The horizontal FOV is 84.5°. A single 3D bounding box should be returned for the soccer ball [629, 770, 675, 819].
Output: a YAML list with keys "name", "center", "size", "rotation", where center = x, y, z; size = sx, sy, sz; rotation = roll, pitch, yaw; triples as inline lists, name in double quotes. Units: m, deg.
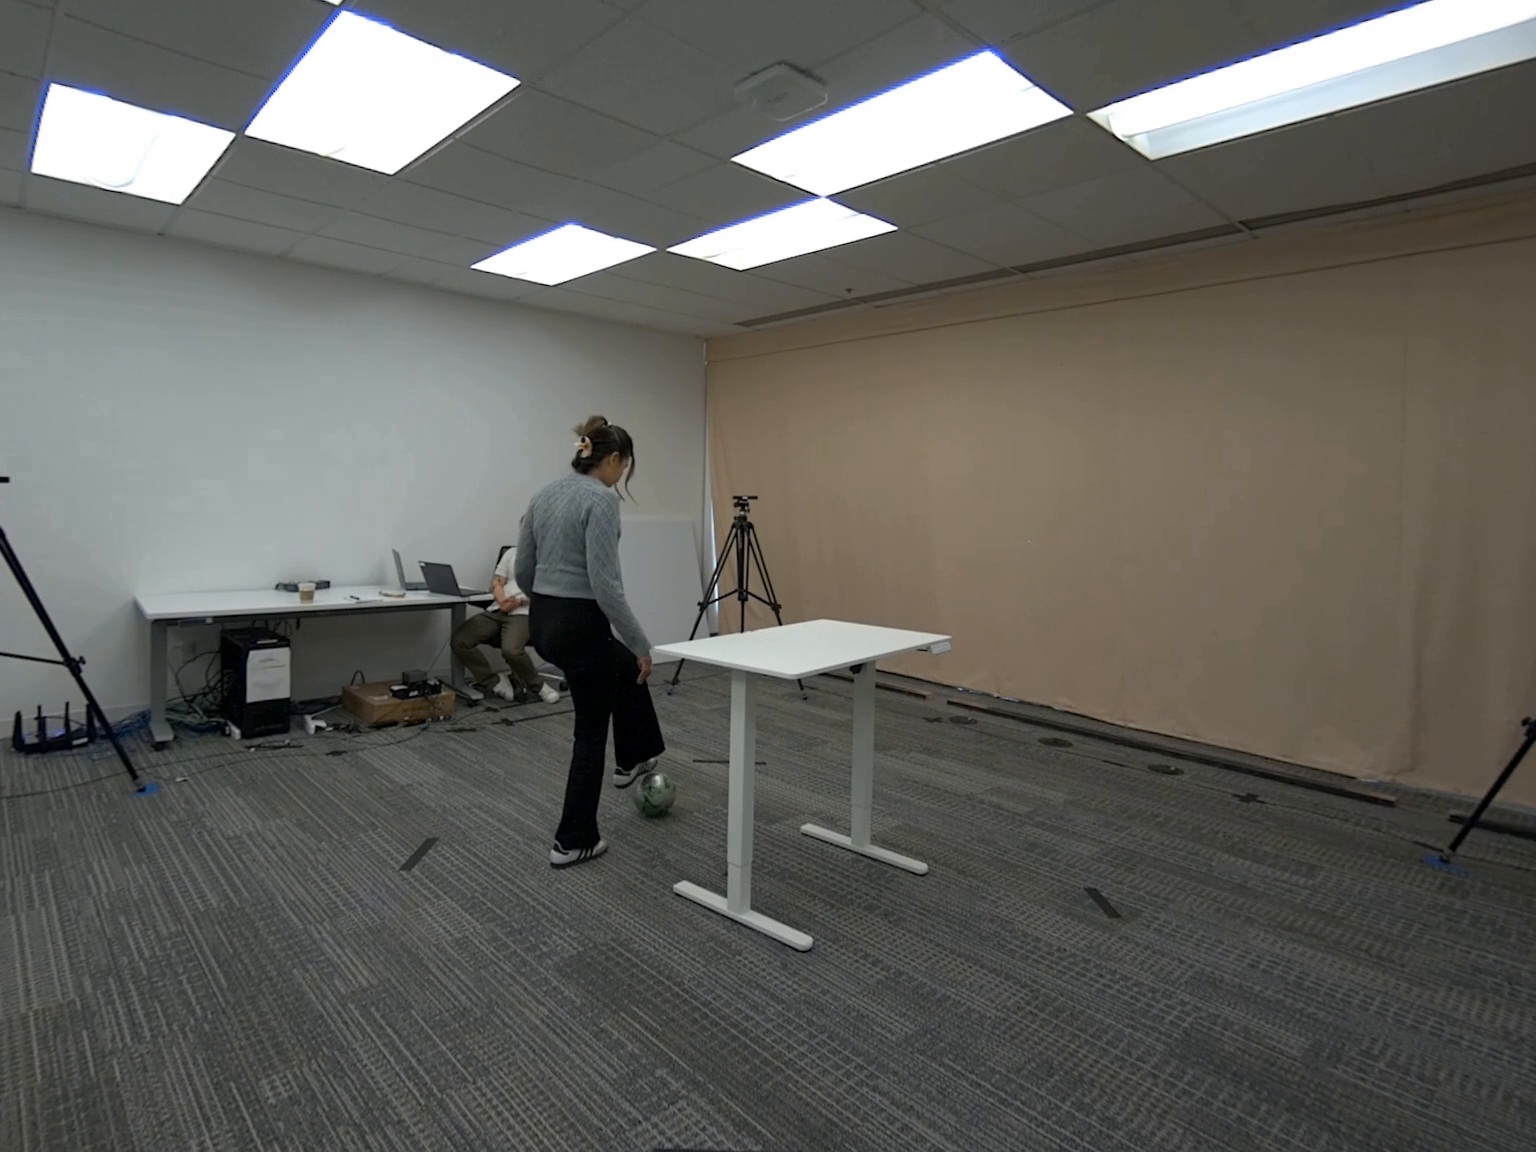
- name: "soccer ball"
  center: [-0.507, 0.953, 3.673]
  size: [0.187, 0.187, 0.188]
  rotation: [1, 4, -1]
